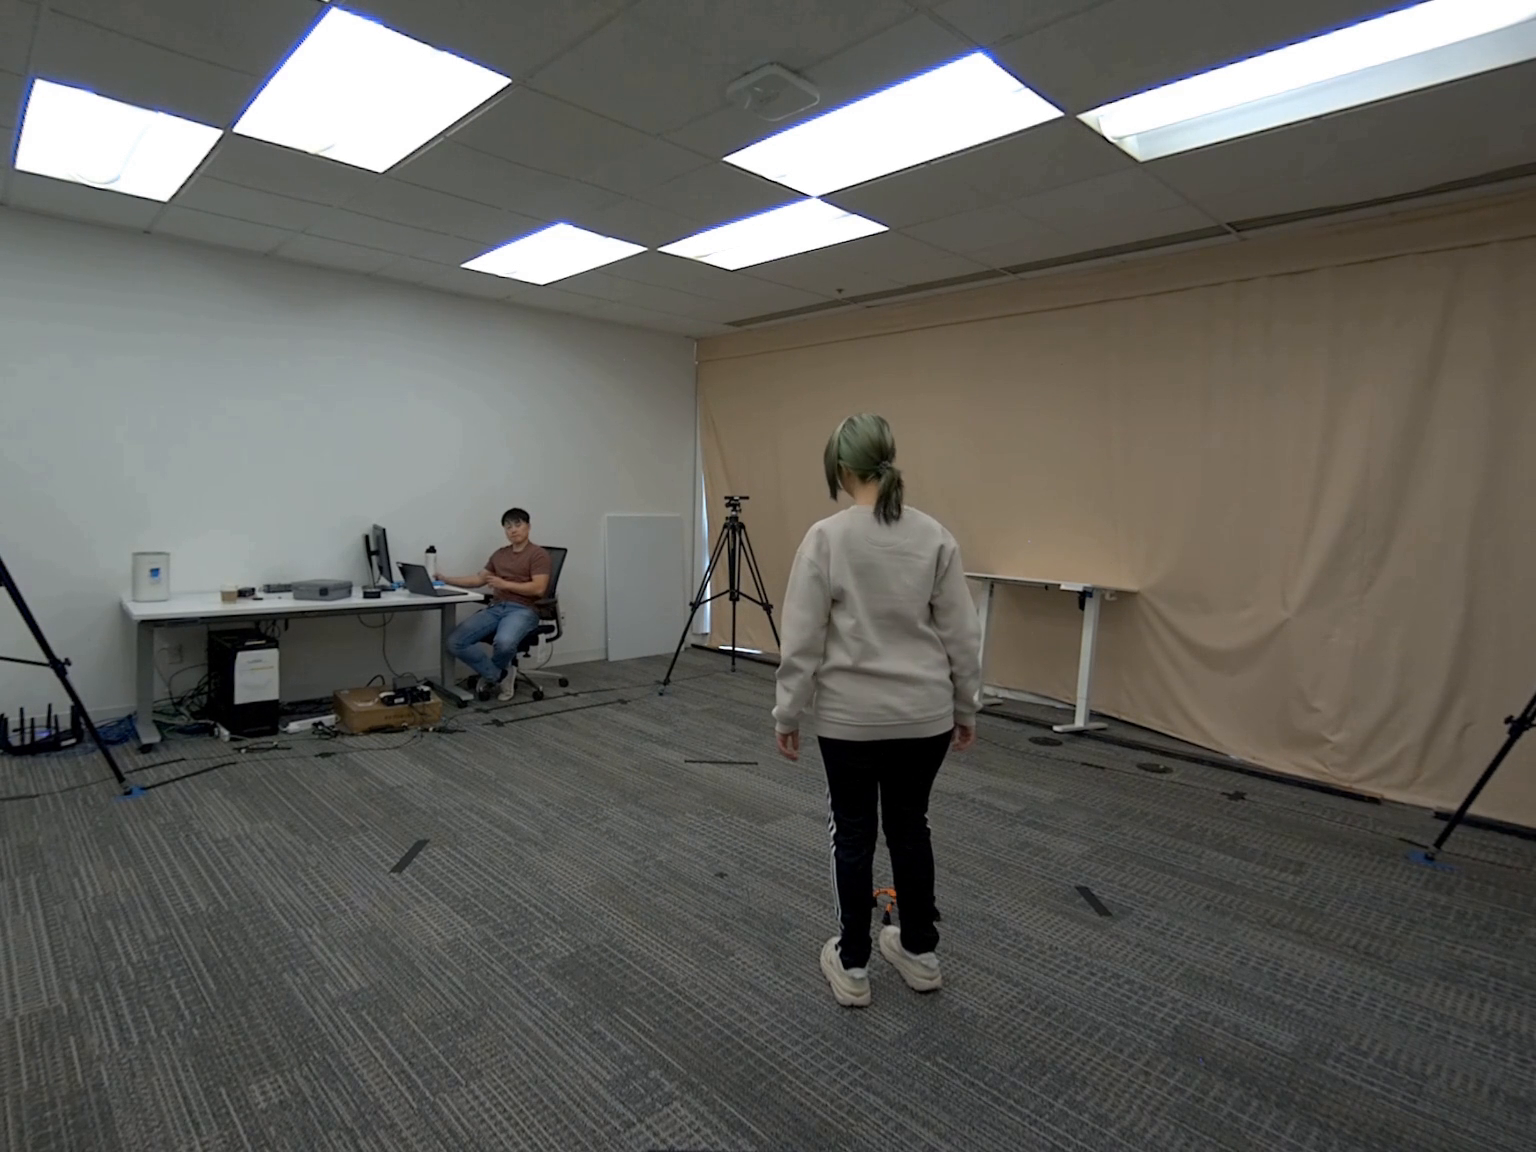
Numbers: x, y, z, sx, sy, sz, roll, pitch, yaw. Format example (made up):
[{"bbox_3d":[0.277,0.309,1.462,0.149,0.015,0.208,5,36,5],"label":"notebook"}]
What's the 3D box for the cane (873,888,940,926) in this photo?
[{"bbox_3d":[0.464,0.693,2.825,0.204,0.905,0.153,1,4,-12],"label":"cane"}]
